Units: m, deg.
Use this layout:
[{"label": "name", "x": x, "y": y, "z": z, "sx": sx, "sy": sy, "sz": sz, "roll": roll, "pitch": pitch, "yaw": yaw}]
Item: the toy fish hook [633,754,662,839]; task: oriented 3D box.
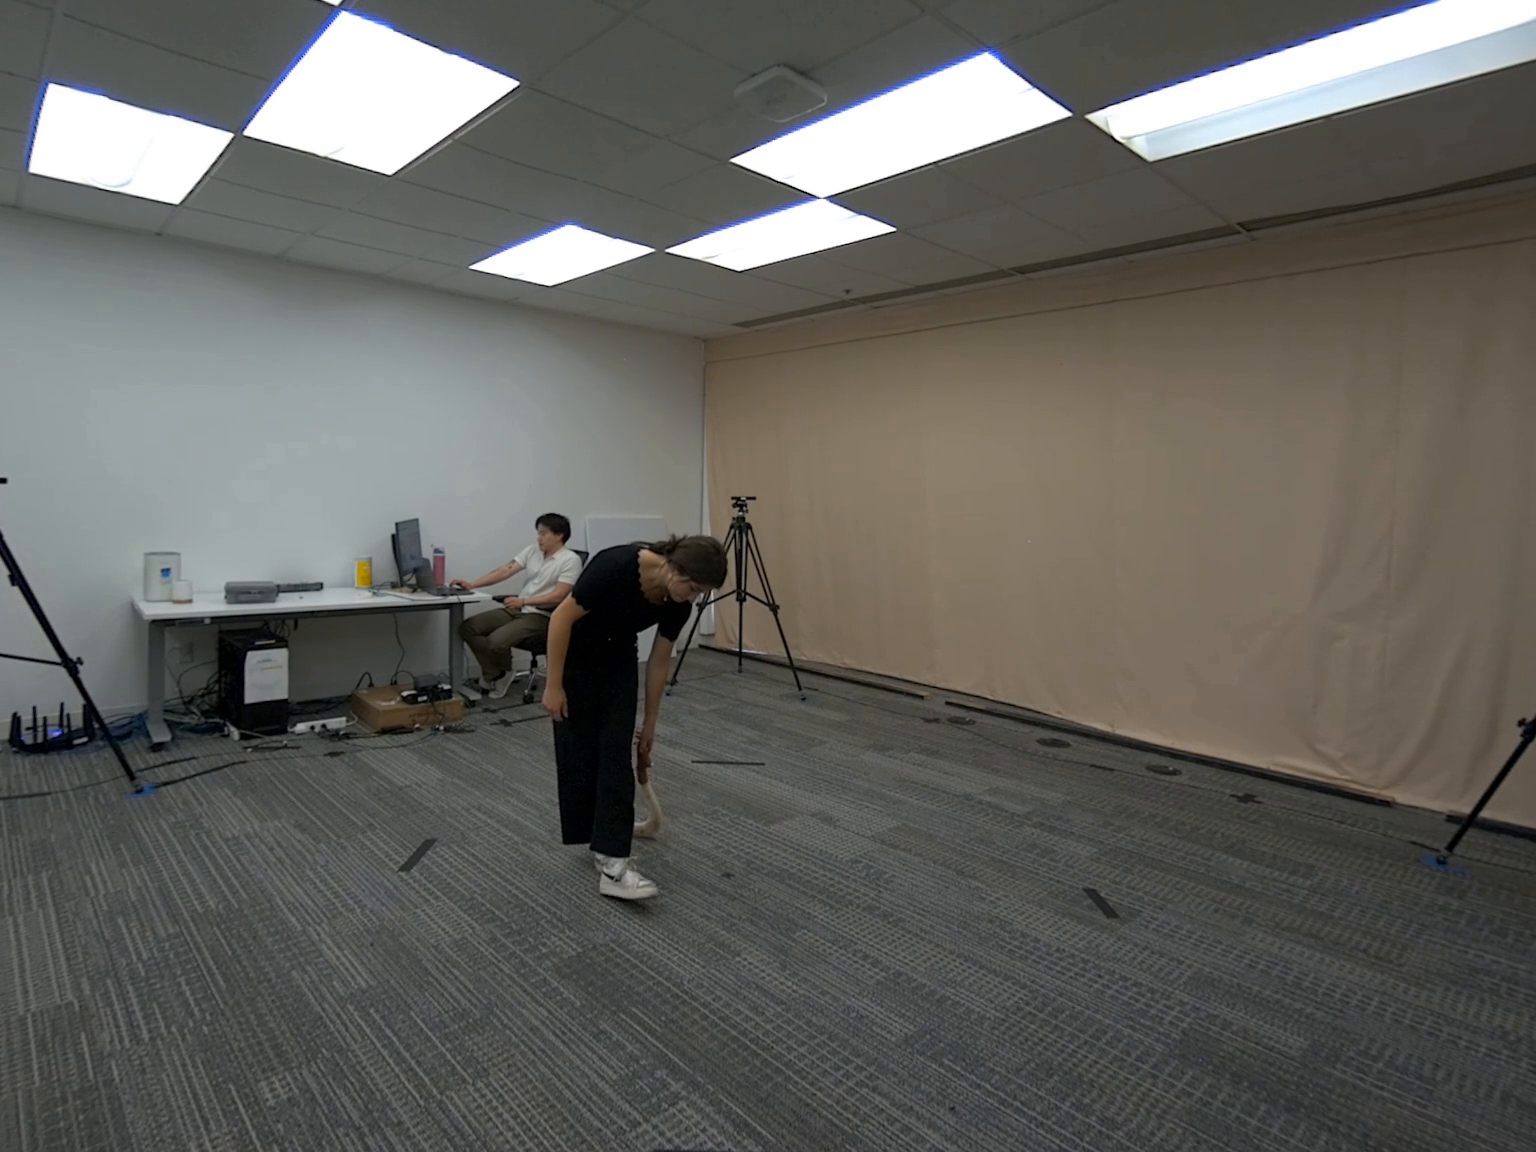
[{"label": "toy fish hook", "x": -0.545, "y": 0.851, "z": 3.332, "sx": 0.225, "sy": 0.497, "sz": 0.049, "roll": 3, "pitch": 28, "yaw": 4}]
